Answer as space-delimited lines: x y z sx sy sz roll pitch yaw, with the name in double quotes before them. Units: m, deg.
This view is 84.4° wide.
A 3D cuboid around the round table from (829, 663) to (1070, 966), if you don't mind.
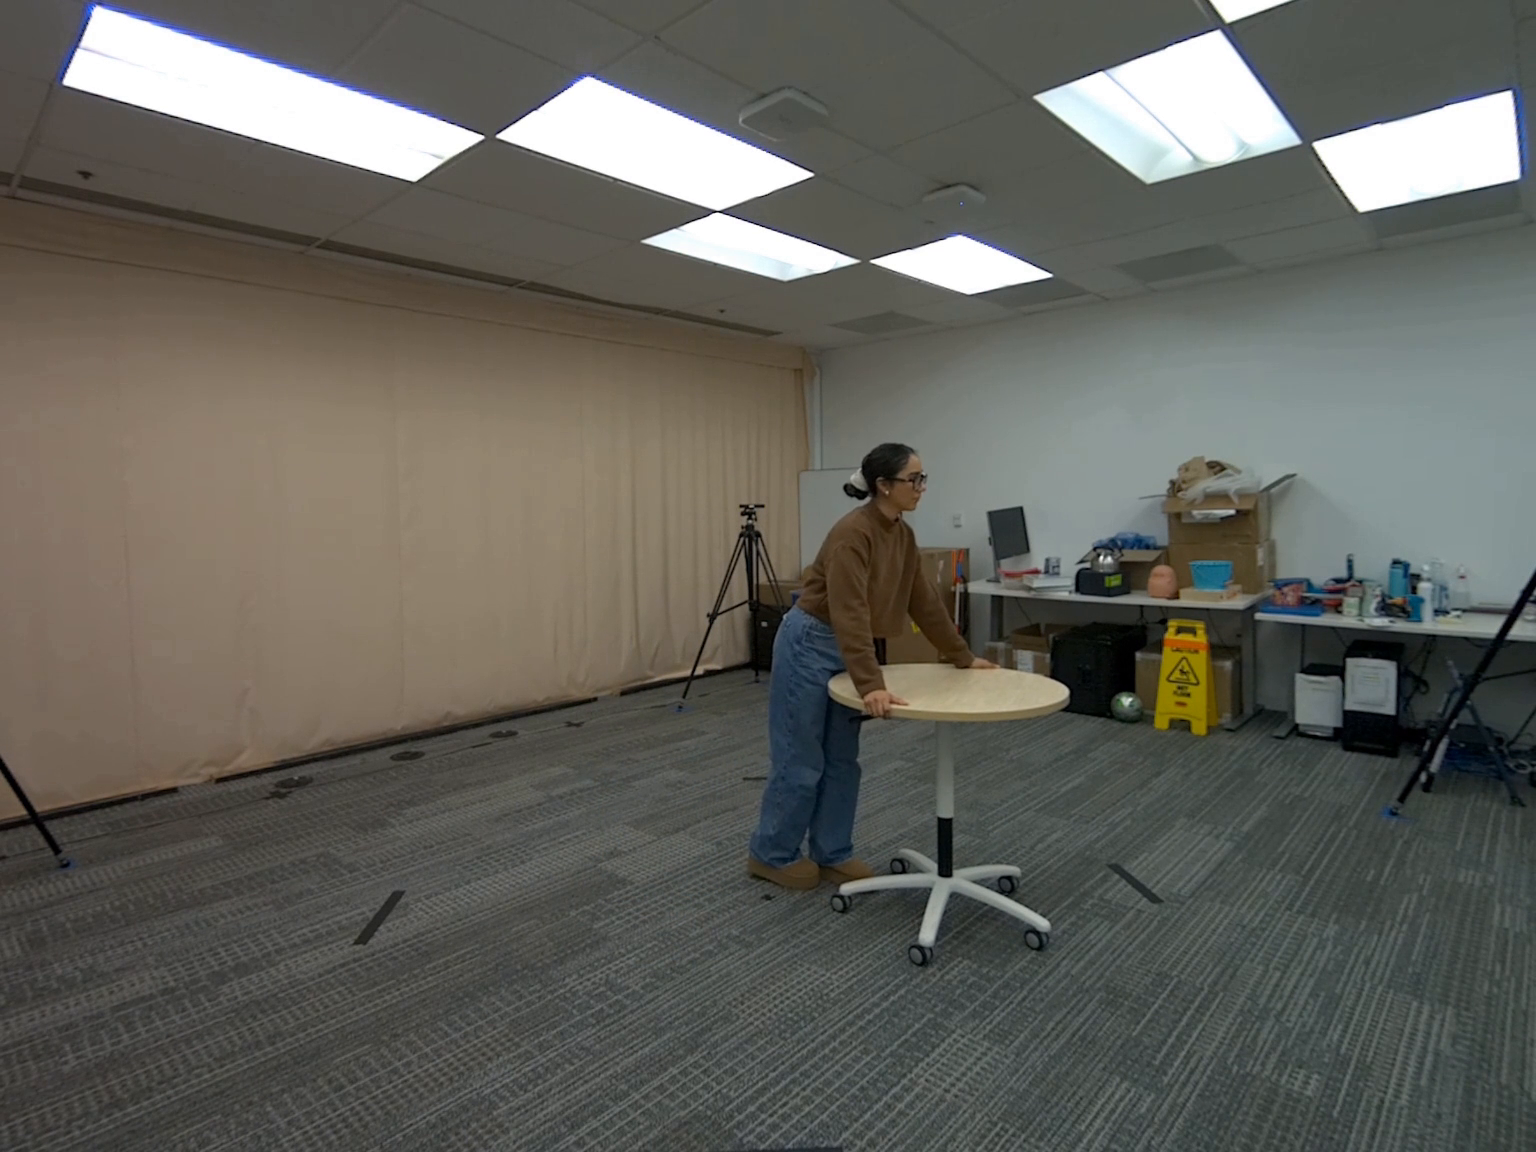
"round table" 0.609 0.753 2.810 0.784 0.784 0.788 -1 4 -2
